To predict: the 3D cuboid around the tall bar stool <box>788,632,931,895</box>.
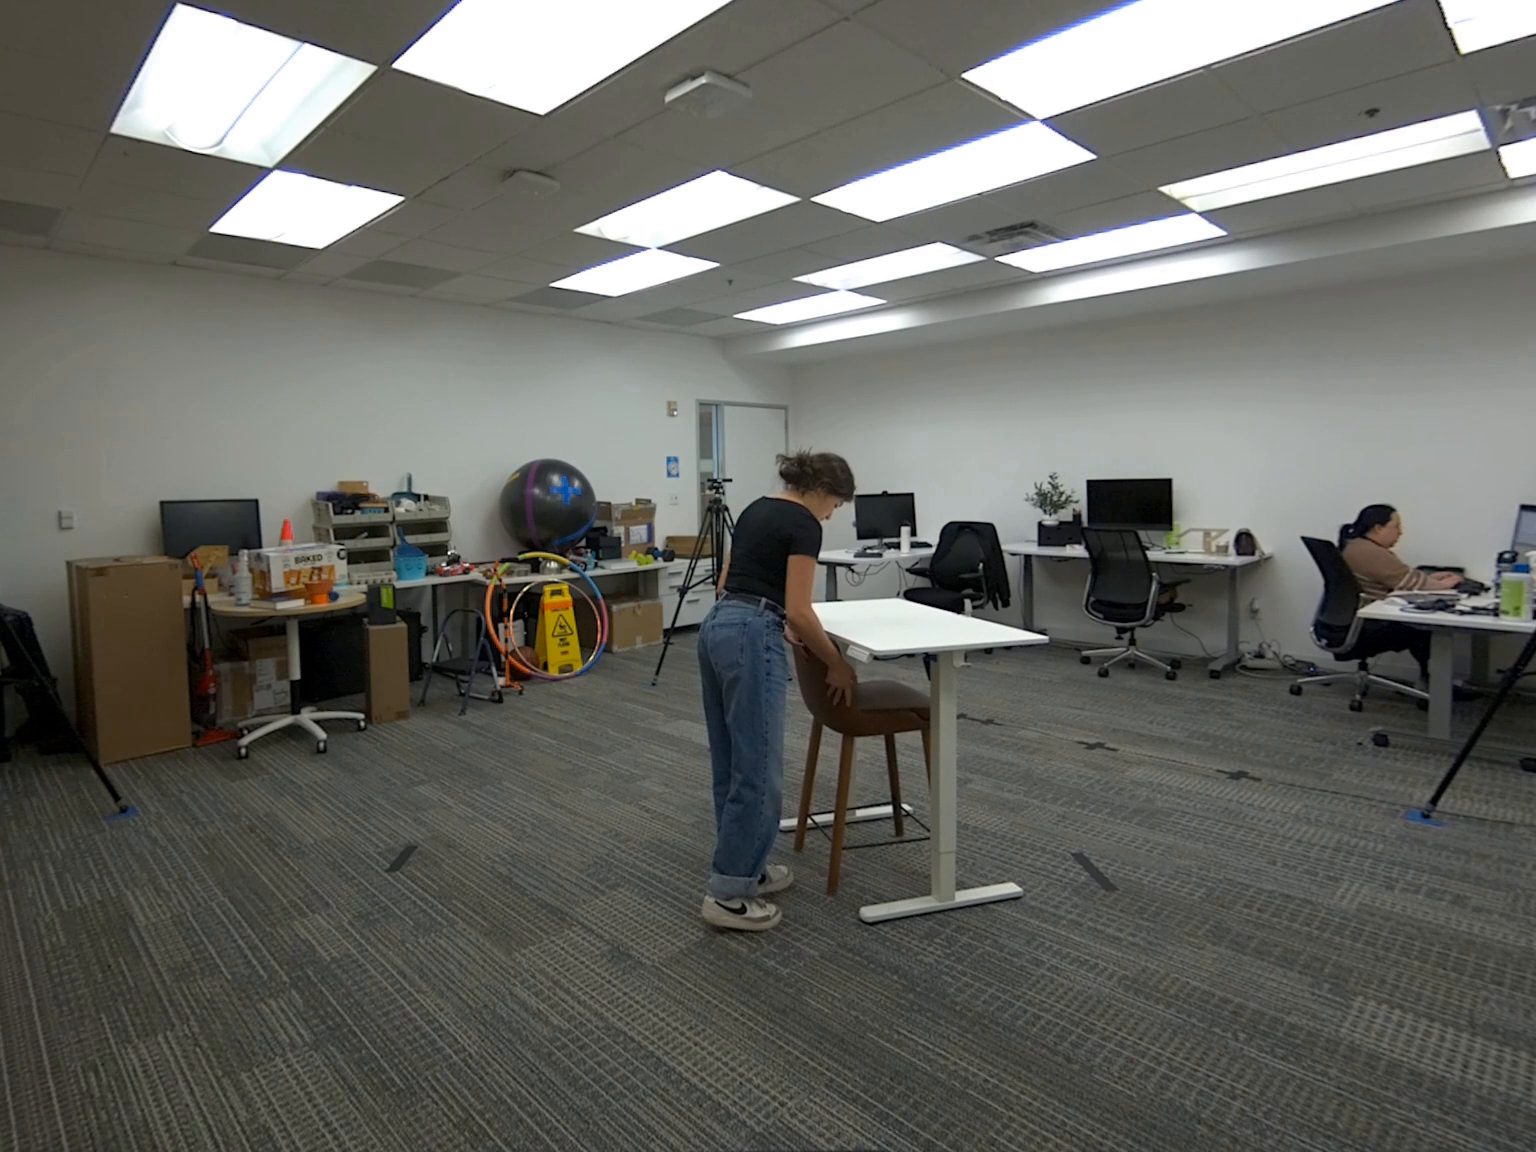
[{"bbox_3d":[0.349,0.610,3.070,0.462,0.886,0.464,-4,5,-15],"label":"tall bar stool"}]
